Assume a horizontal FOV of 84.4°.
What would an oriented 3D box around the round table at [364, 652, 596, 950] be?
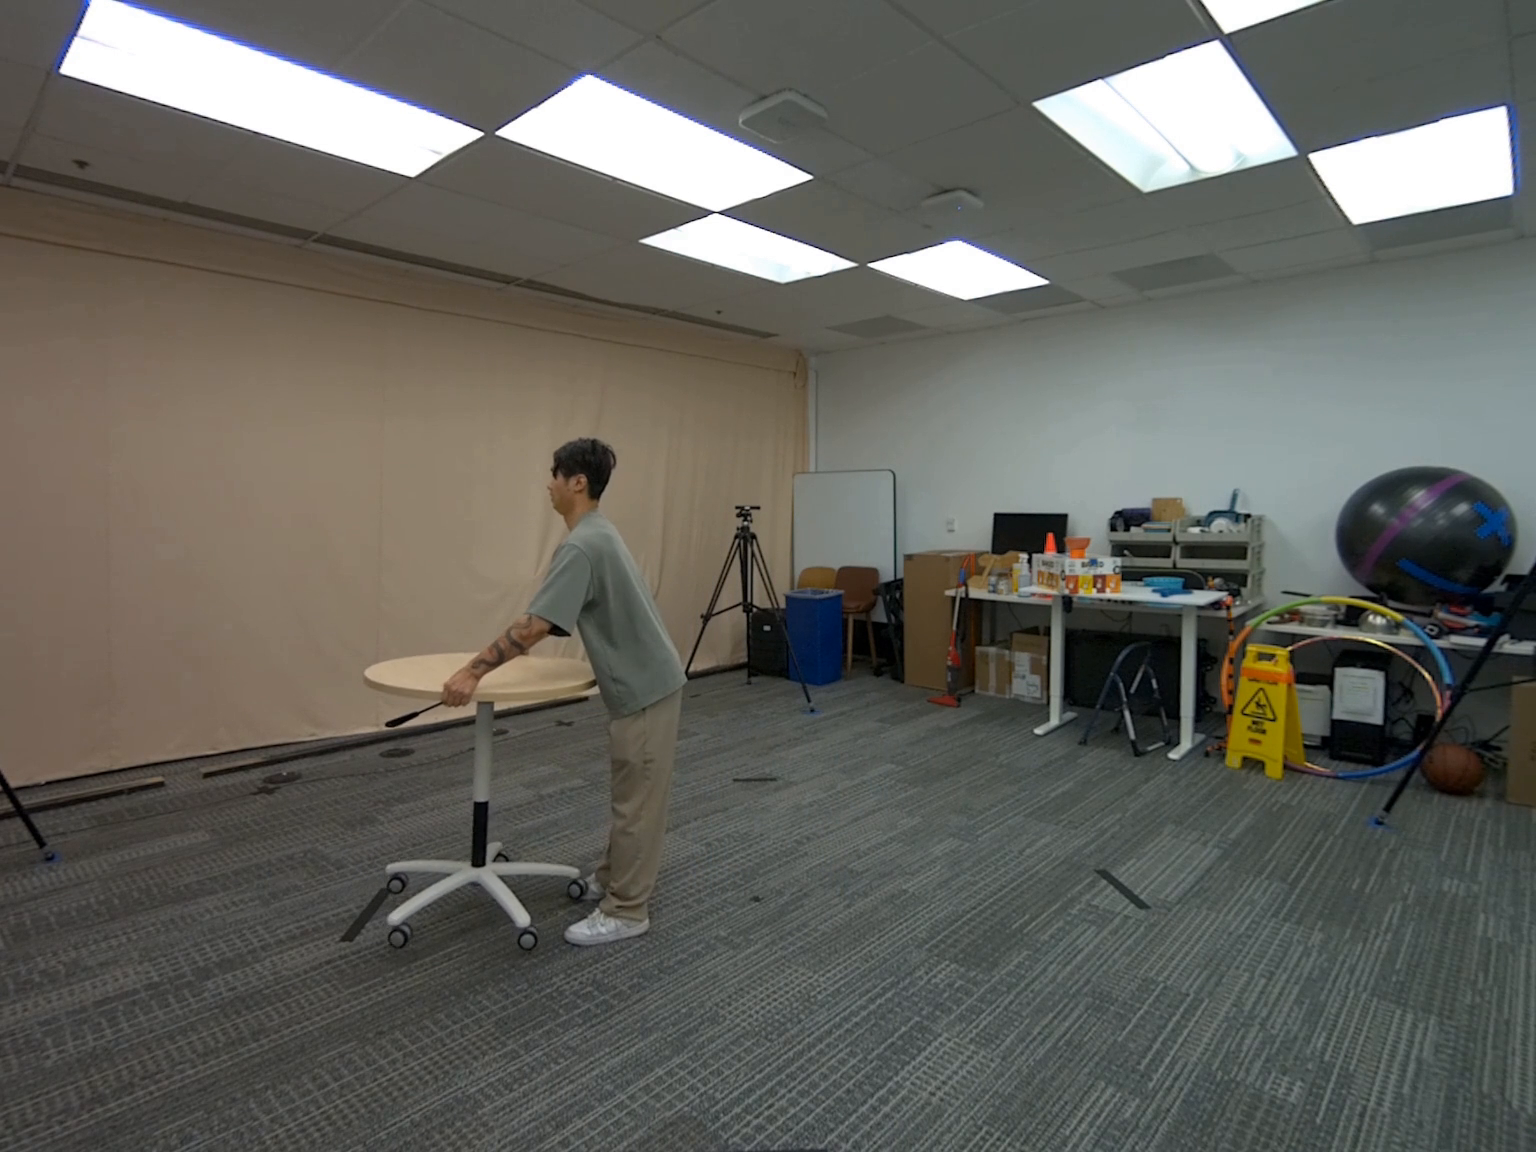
[{"bbox_3d":[-0.961,0.720,2.853,0.784,0.785,0.787,3,2,-2],"label":"round table"}]
